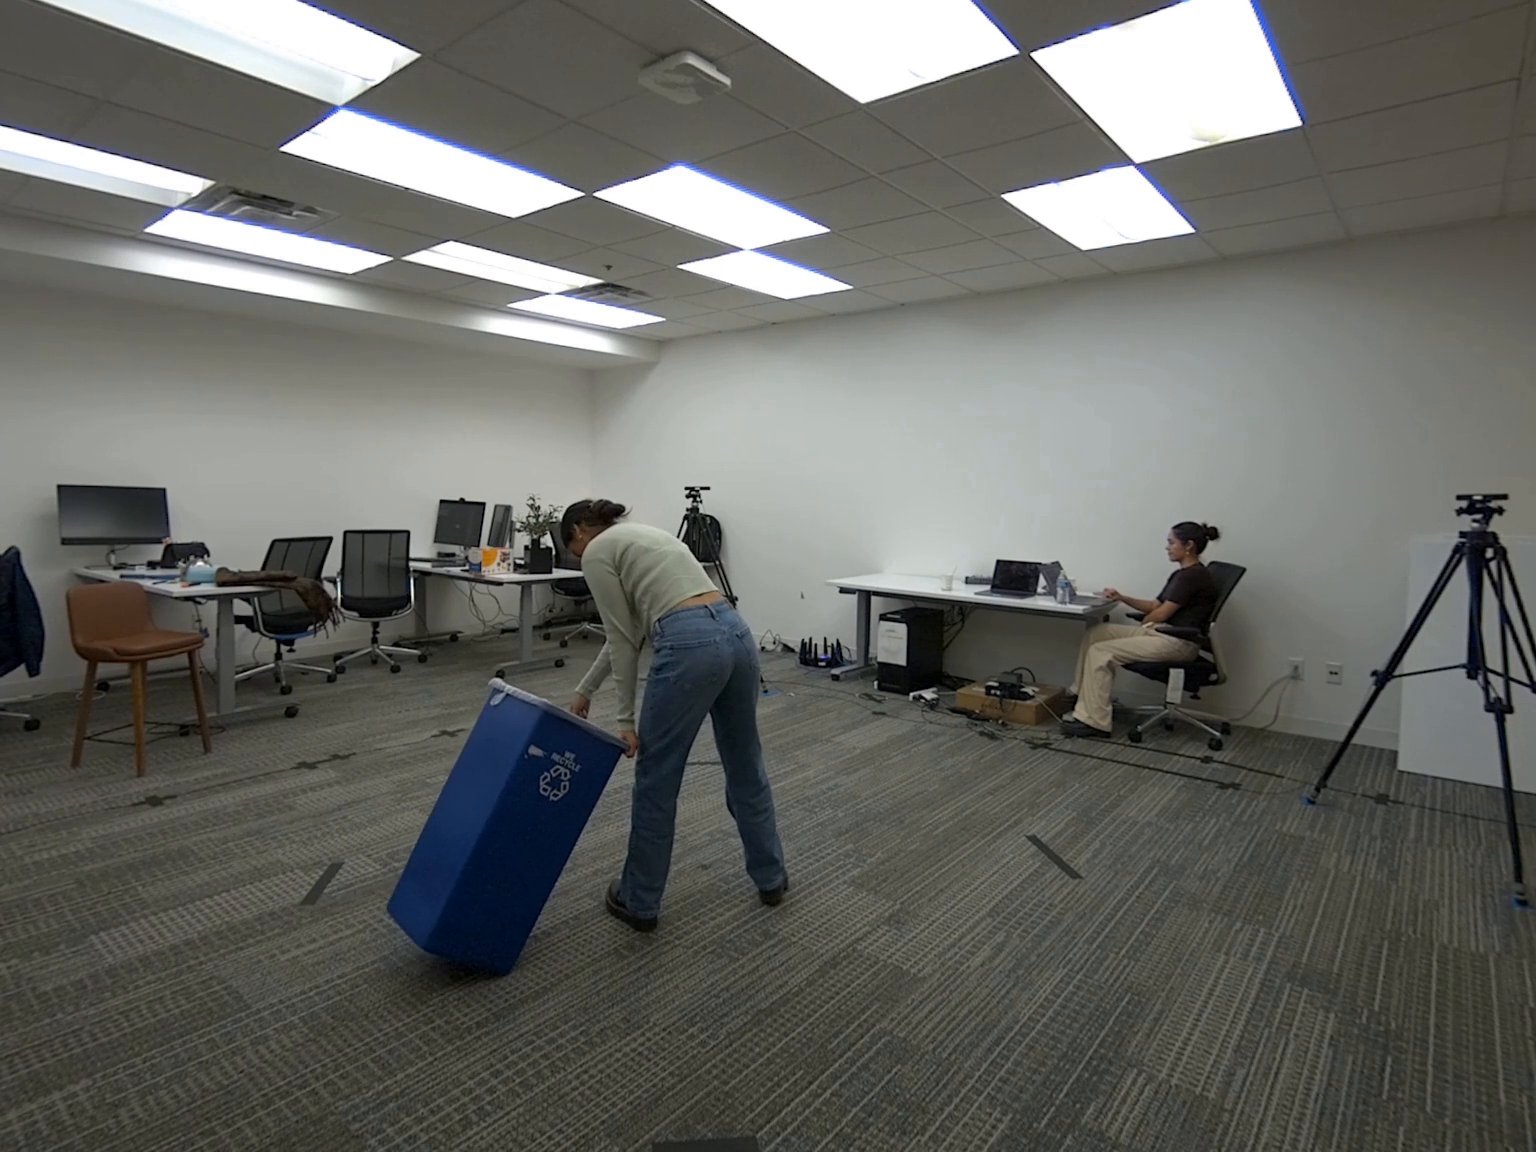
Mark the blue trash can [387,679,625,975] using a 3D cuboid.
[{"bbox_3d":[-0.790,0.734,2.558,0.391,0.718,0.359,7,-23,48],"label":"blue trash can"}]
